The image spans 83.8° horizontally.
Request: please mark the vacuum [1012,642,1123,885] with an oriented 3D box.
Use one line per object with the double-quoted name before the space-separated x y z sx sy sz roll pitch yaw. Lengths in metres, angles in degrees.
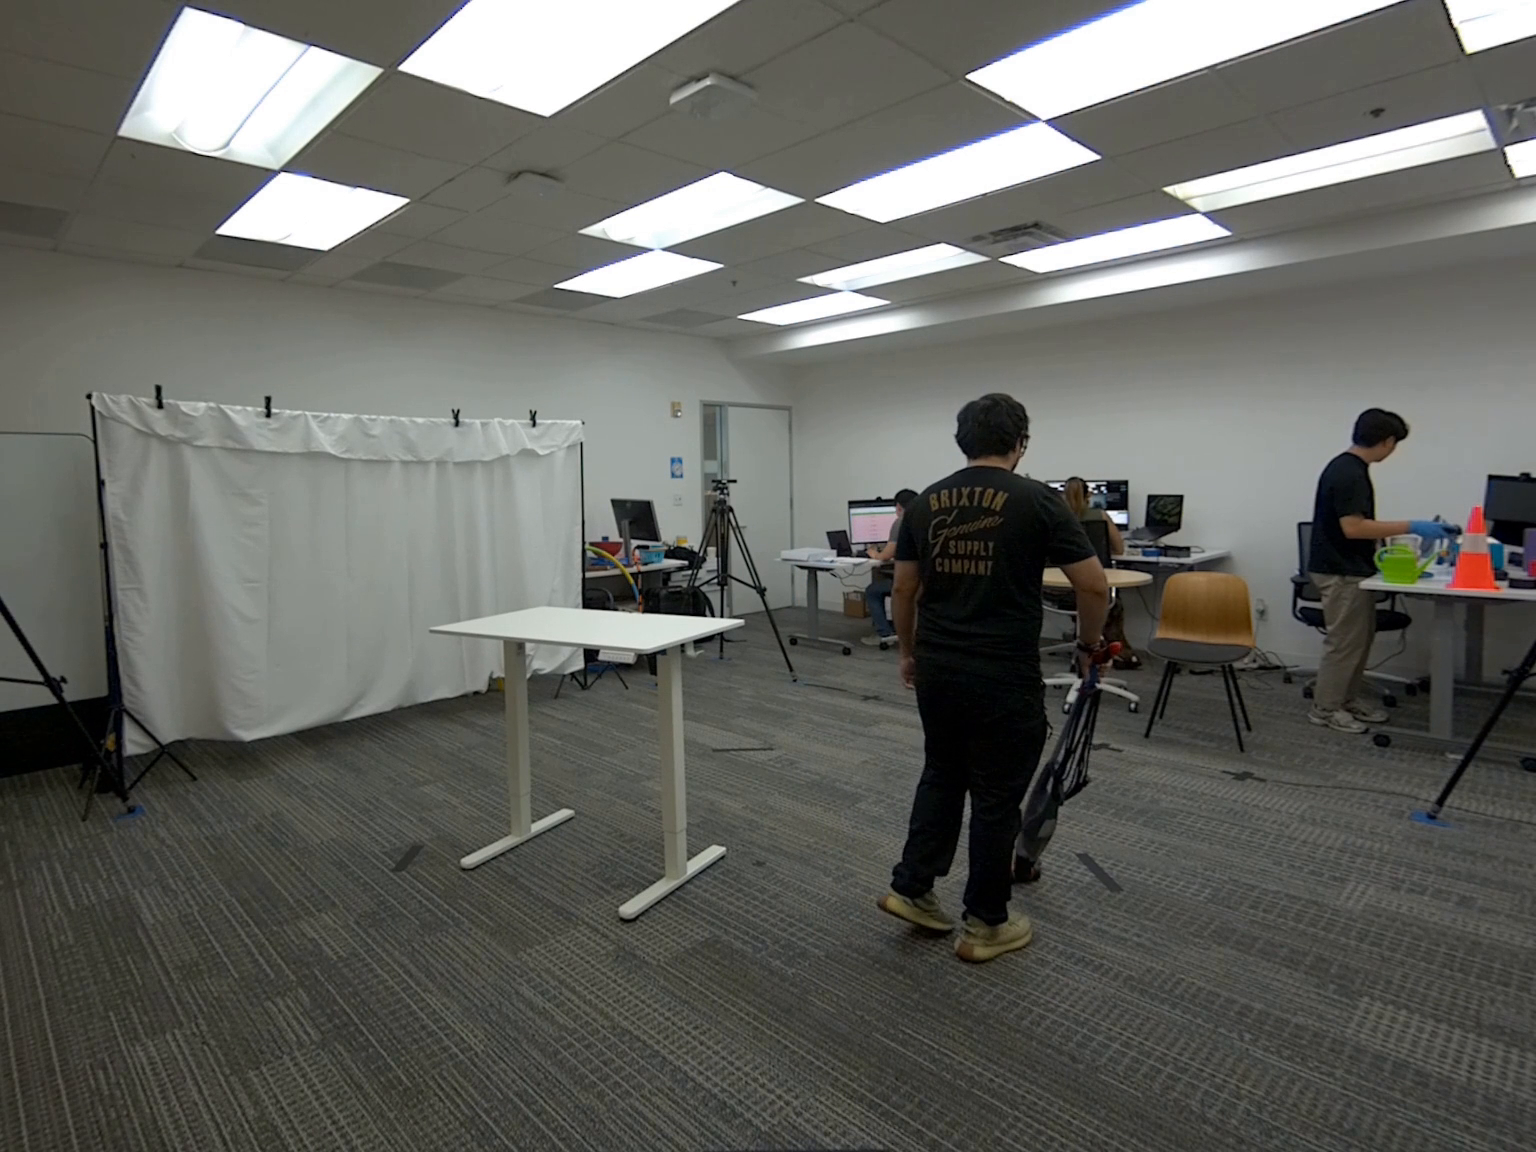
"vacuum" 0.917 0.623 2.711 0.249 1.026 0.149 -5 36 -17
